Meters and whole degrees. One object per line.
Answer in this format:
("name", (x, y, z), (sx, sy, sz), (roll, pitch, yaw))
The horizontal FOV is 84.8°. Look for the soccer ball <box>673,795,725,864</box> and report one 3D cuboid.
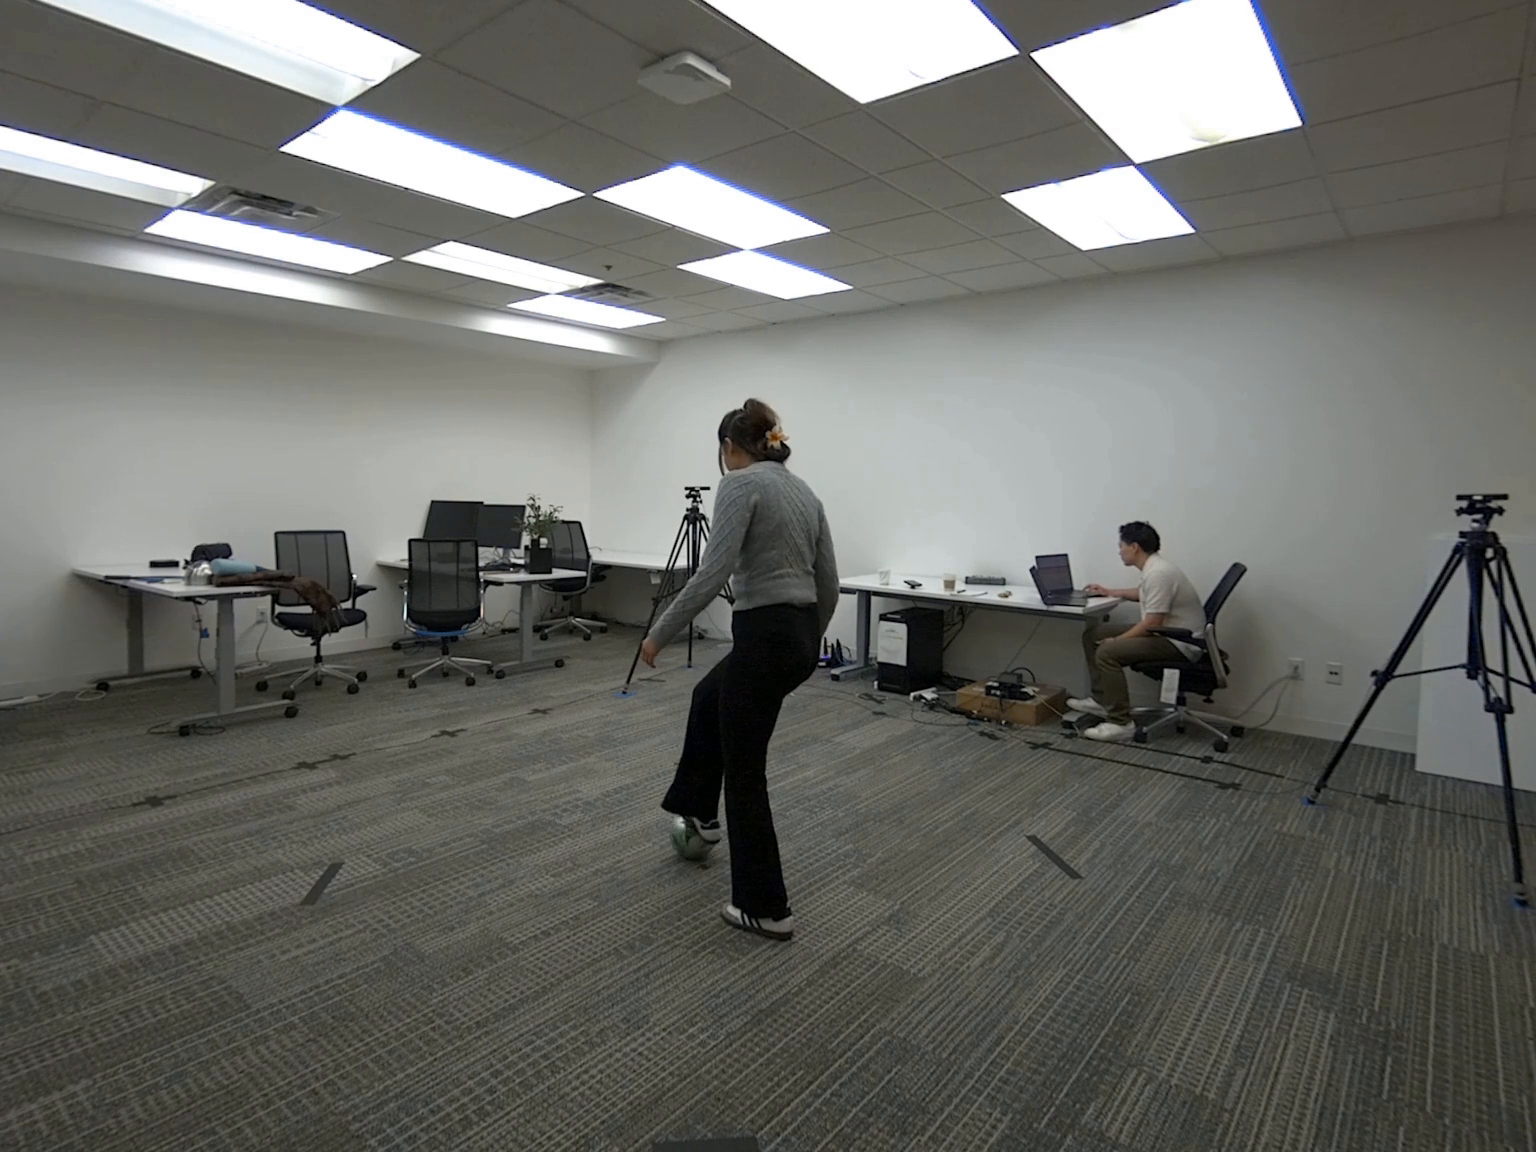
("soccer ball", (-0.263, 0.959, 3.206), (0.187, 0.187, 0.188), (1, 4, -2))
